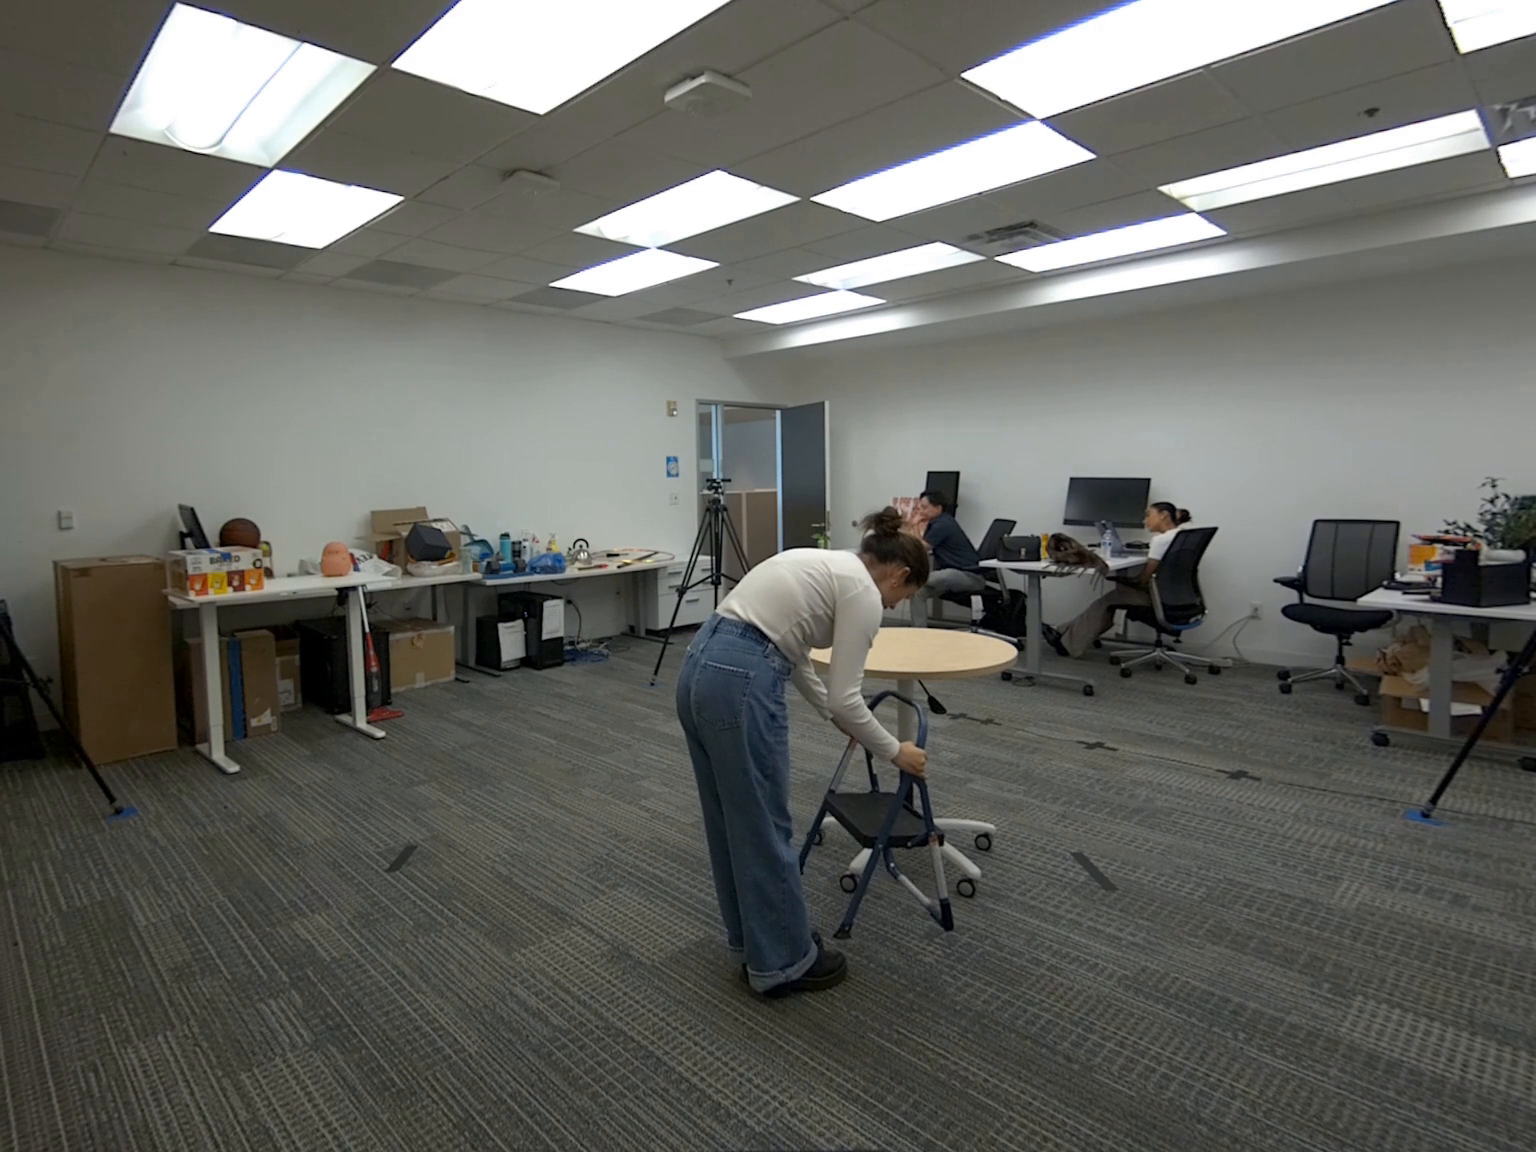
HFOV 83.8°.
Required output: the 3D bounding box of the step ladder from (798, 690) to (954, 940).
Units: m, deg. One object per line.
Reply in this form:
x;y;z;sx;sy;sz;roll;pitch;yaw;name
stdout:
0.312;0.651;2.482;0.344;0.605;0.438;3;2;-16;step ladder
